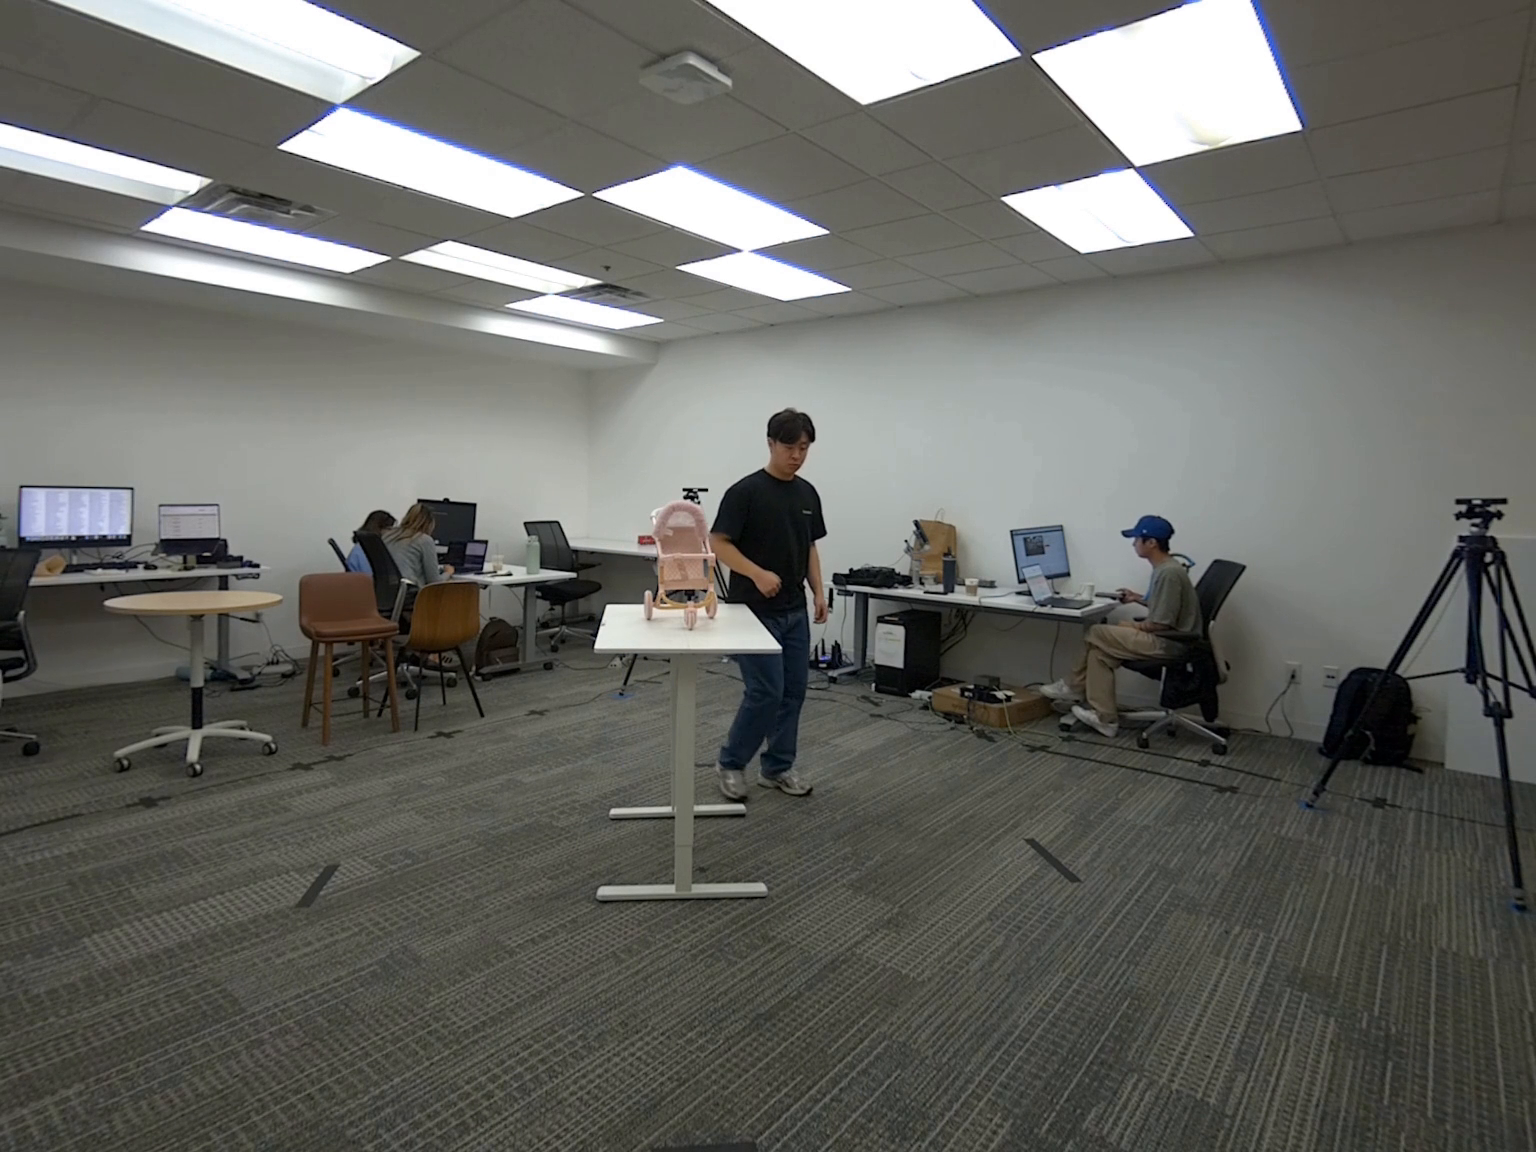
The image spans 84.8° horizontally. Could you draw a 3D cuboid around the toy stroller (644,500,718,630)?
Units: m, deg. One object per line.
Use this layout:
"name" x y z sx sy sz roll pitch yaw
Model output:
"toy stroller" -0.338 -0.051 3.235 0.279 0.542 0.340 -1 -12 -10
